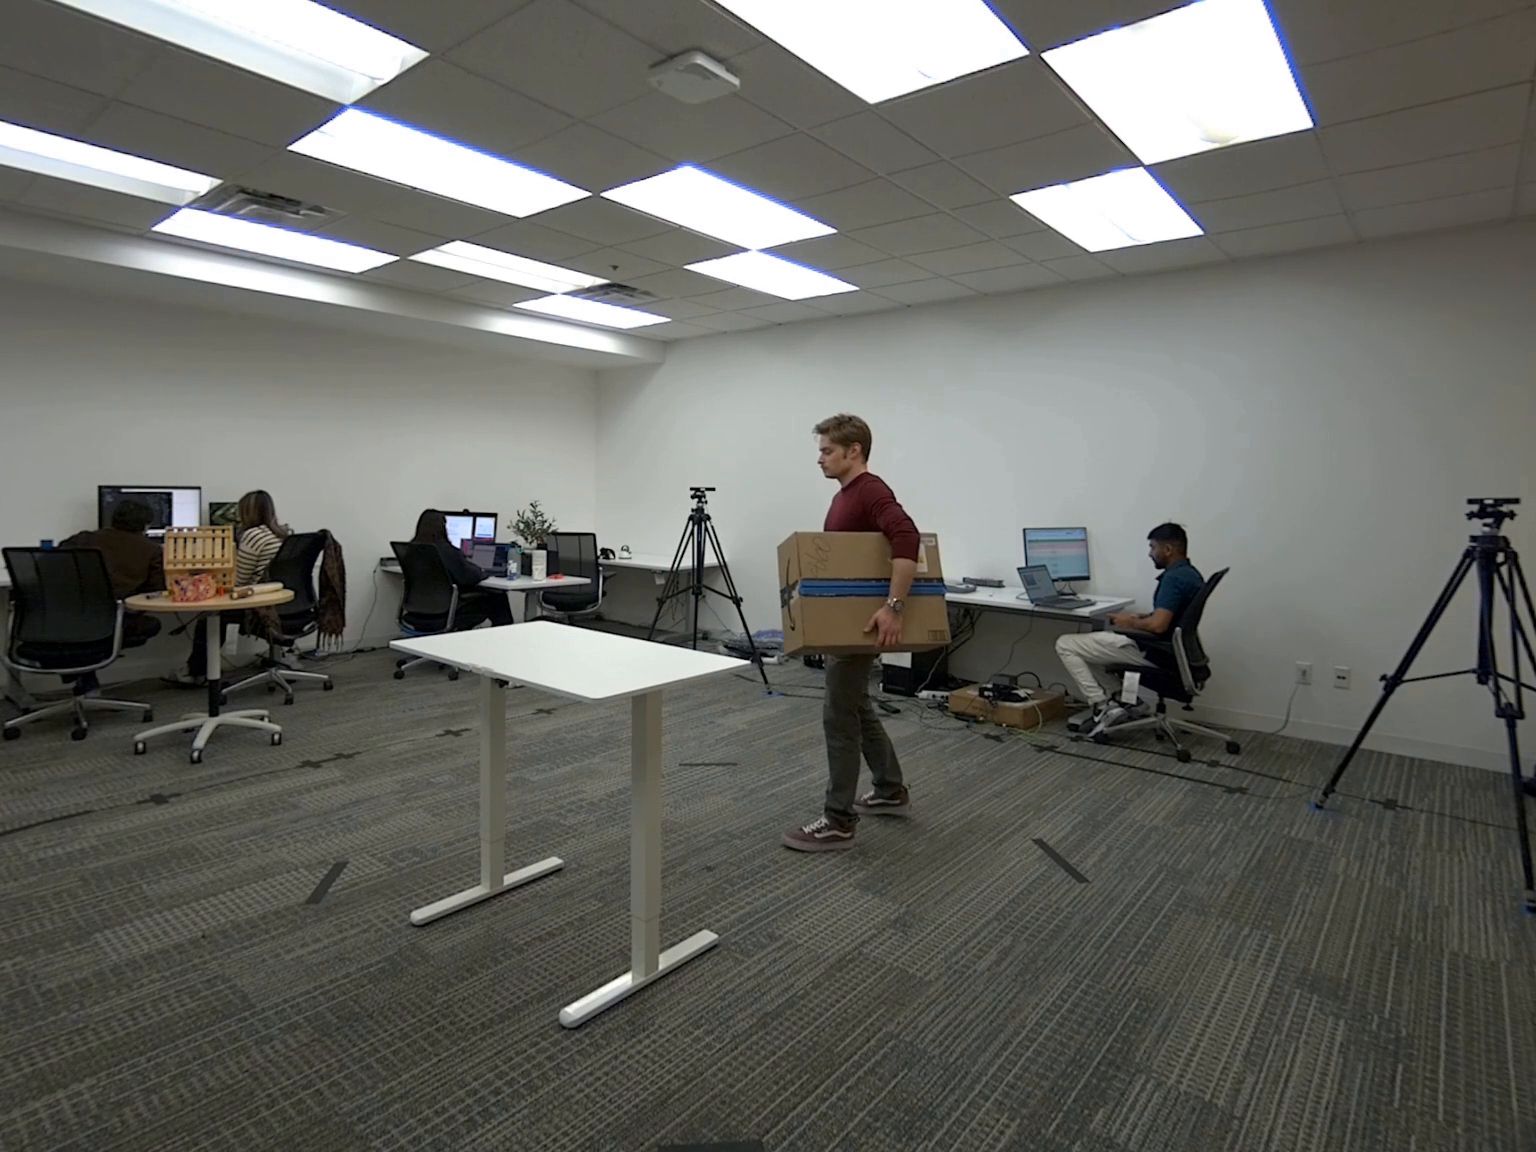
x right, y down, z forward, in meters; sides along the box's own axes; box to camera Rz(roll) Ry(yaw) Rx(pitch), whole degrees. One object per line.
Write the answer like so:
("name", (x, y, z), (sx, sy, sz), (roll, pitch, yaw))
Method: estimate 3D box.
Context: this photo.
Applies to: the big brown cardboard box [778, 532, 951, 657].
("big brown cardboard box", (0.341, 0.063, 3.144), (0.581, 0.424, 0.233), (0, -15, -13))
